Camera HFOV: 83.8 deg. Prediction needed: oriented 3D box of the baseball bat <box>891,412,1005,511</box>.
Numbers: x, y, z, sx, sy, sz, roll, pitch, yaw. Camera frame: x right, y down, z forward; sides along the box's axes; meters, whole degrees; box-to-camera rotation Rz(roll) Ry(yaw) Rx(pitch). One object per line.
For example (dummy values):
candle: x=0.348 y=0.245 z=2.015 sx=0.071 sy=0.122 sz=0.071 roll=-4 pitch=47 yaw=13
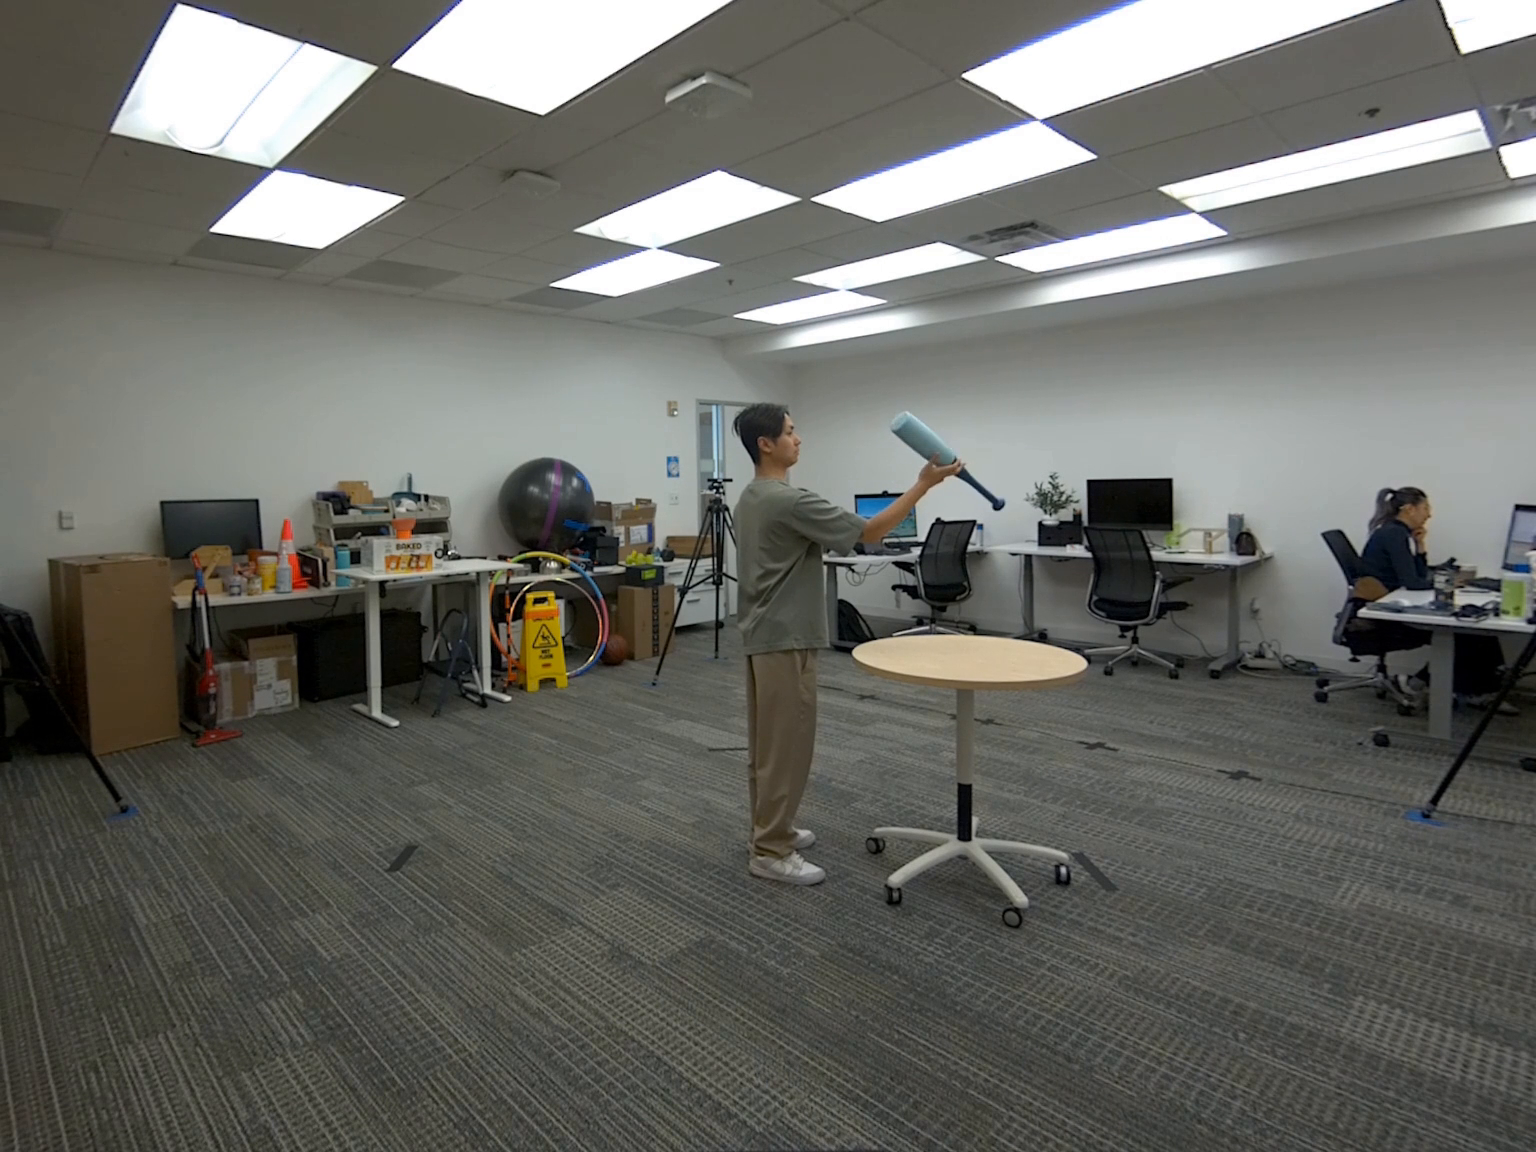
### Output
baseball bat: x=0.636 y=-0.389 z=2.983 sx=0.529 sy=0.089 sz=0.091 roll=33 pitch=-10 yaw=-21
